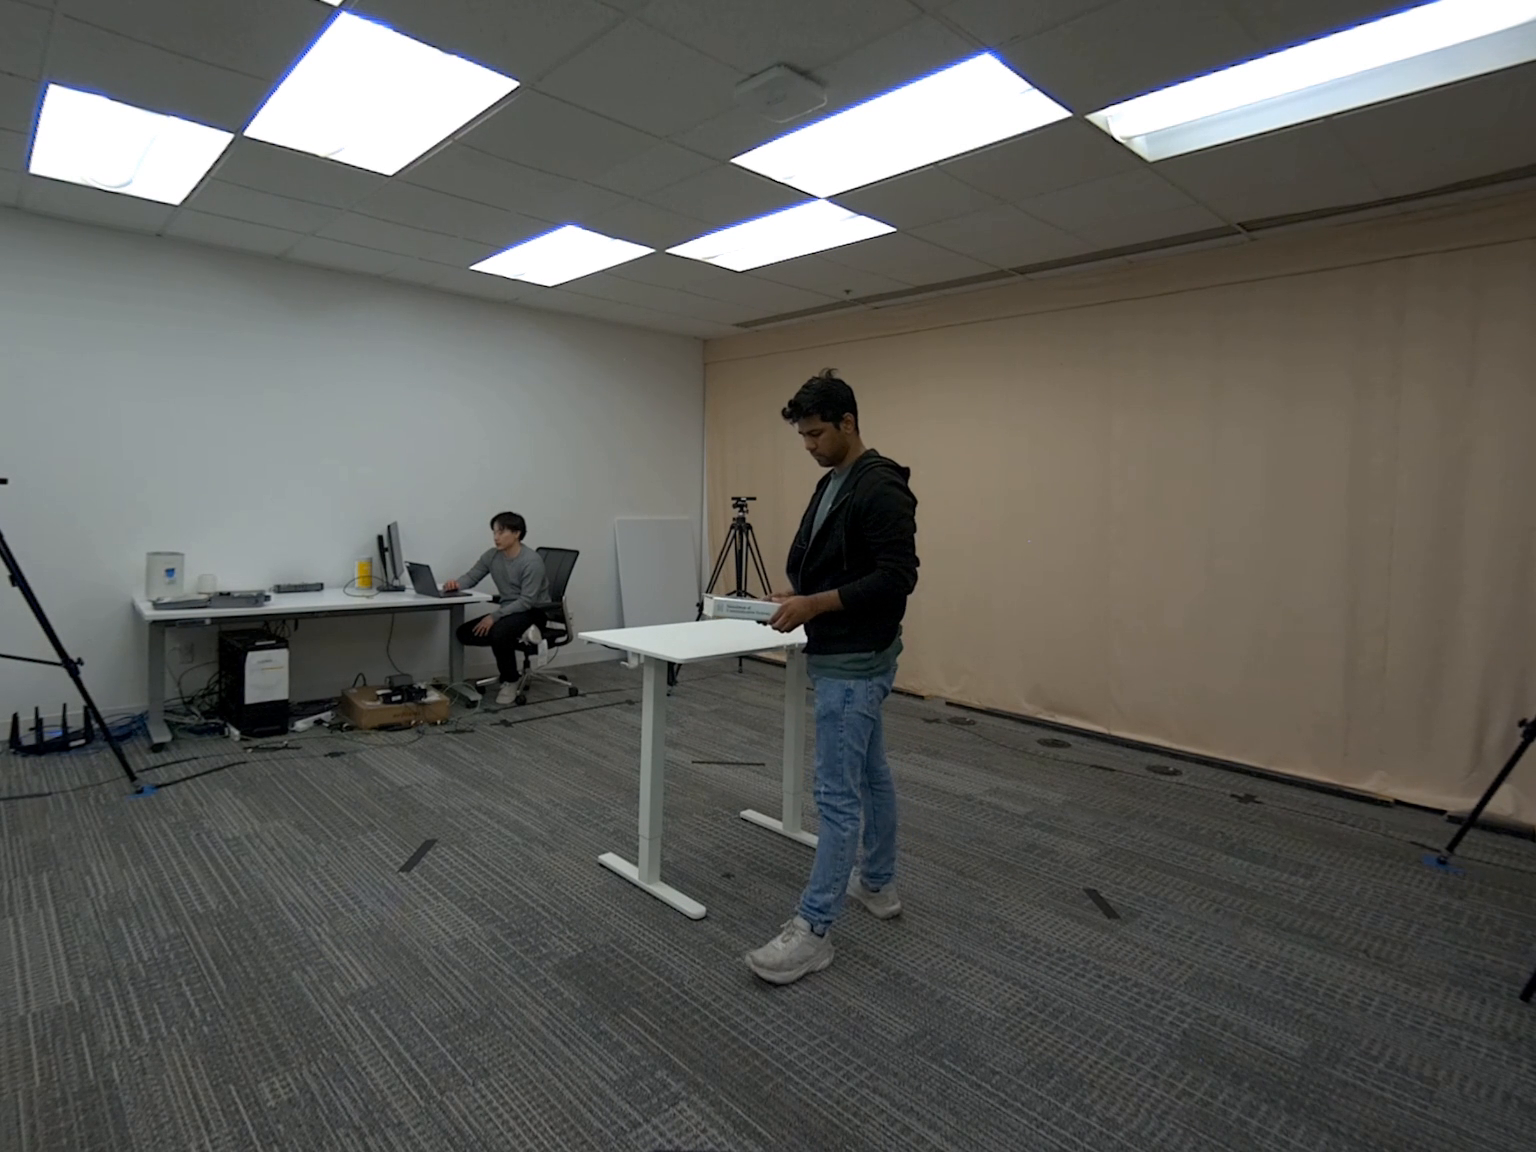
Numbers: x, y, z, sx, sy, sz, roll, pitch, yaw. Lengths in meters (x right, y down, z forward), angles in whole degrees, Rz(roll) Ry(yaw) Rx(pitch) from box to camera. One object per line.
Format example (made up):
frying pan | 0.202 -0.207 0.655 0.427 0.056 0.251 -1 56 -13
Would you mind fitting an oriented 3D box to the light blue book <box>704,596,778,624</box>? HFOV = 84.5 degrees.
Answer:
light blue book | -0.049 0.107 2.607 0.260 0.059 0.192 4 -1 -5
